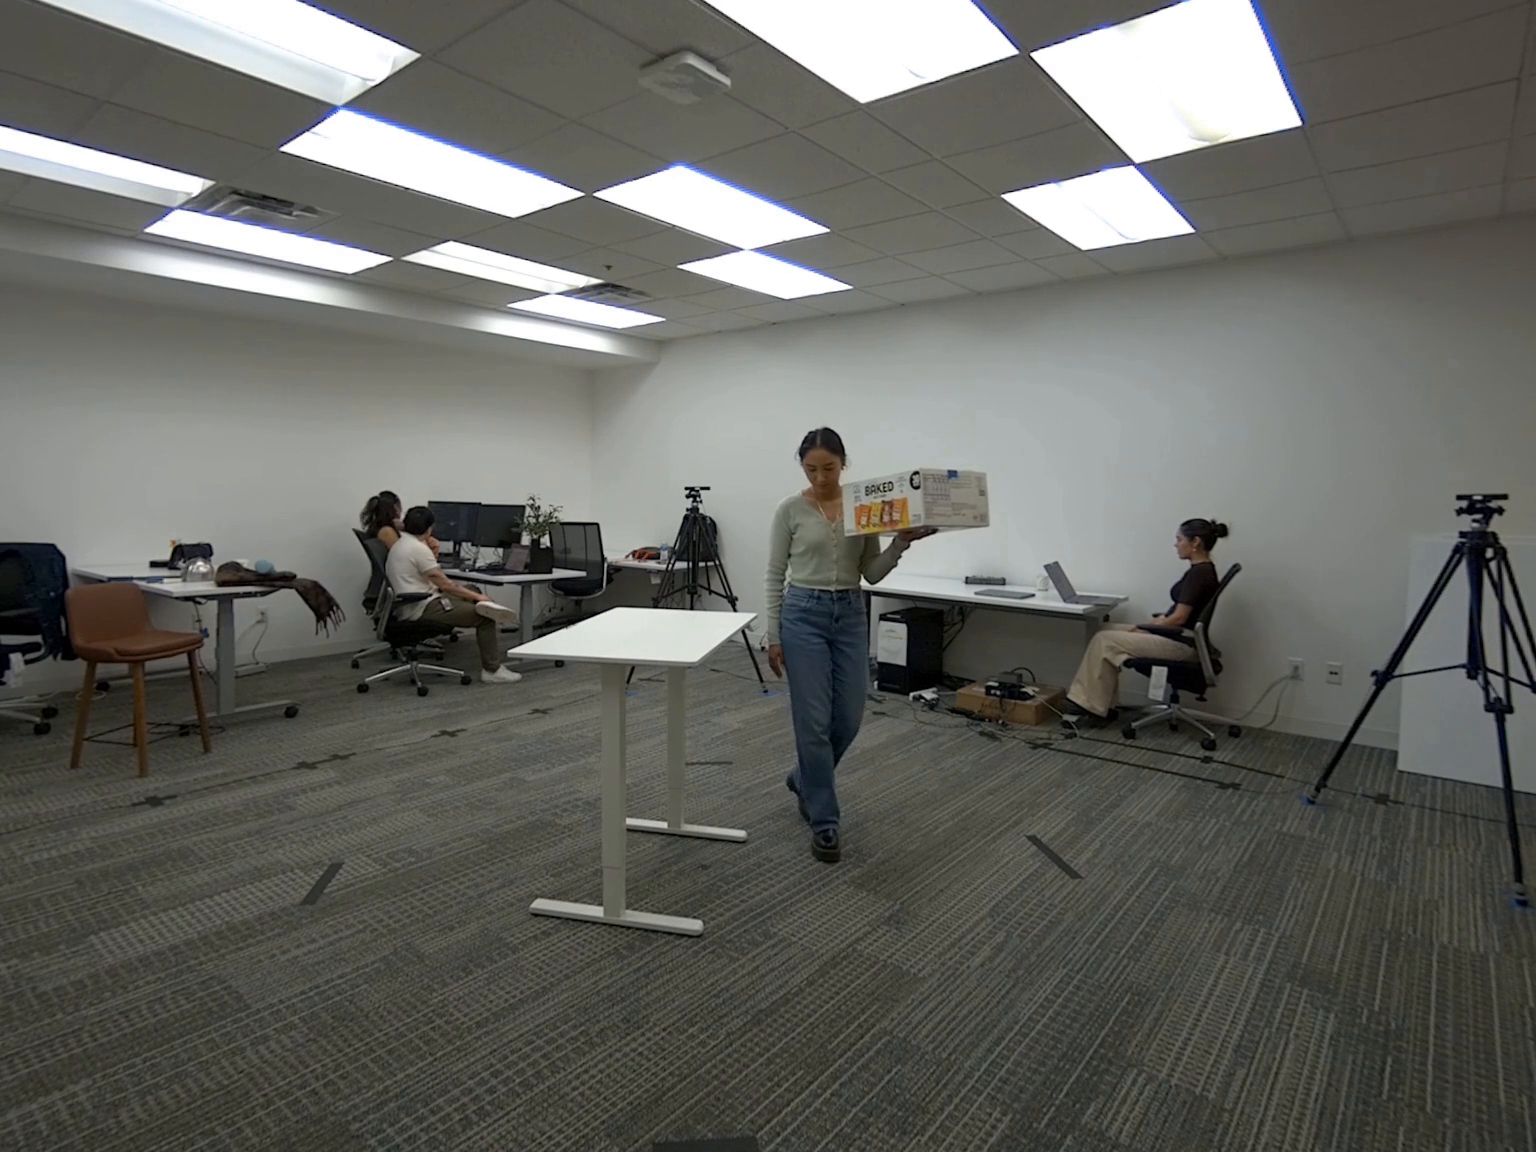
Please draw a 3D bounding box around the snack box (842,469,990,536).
[{"bbox_3d":[0.534,-0.264,3.162,0.330,0.206,0.415,-1,-3,-34],"label":"snack box"}]
